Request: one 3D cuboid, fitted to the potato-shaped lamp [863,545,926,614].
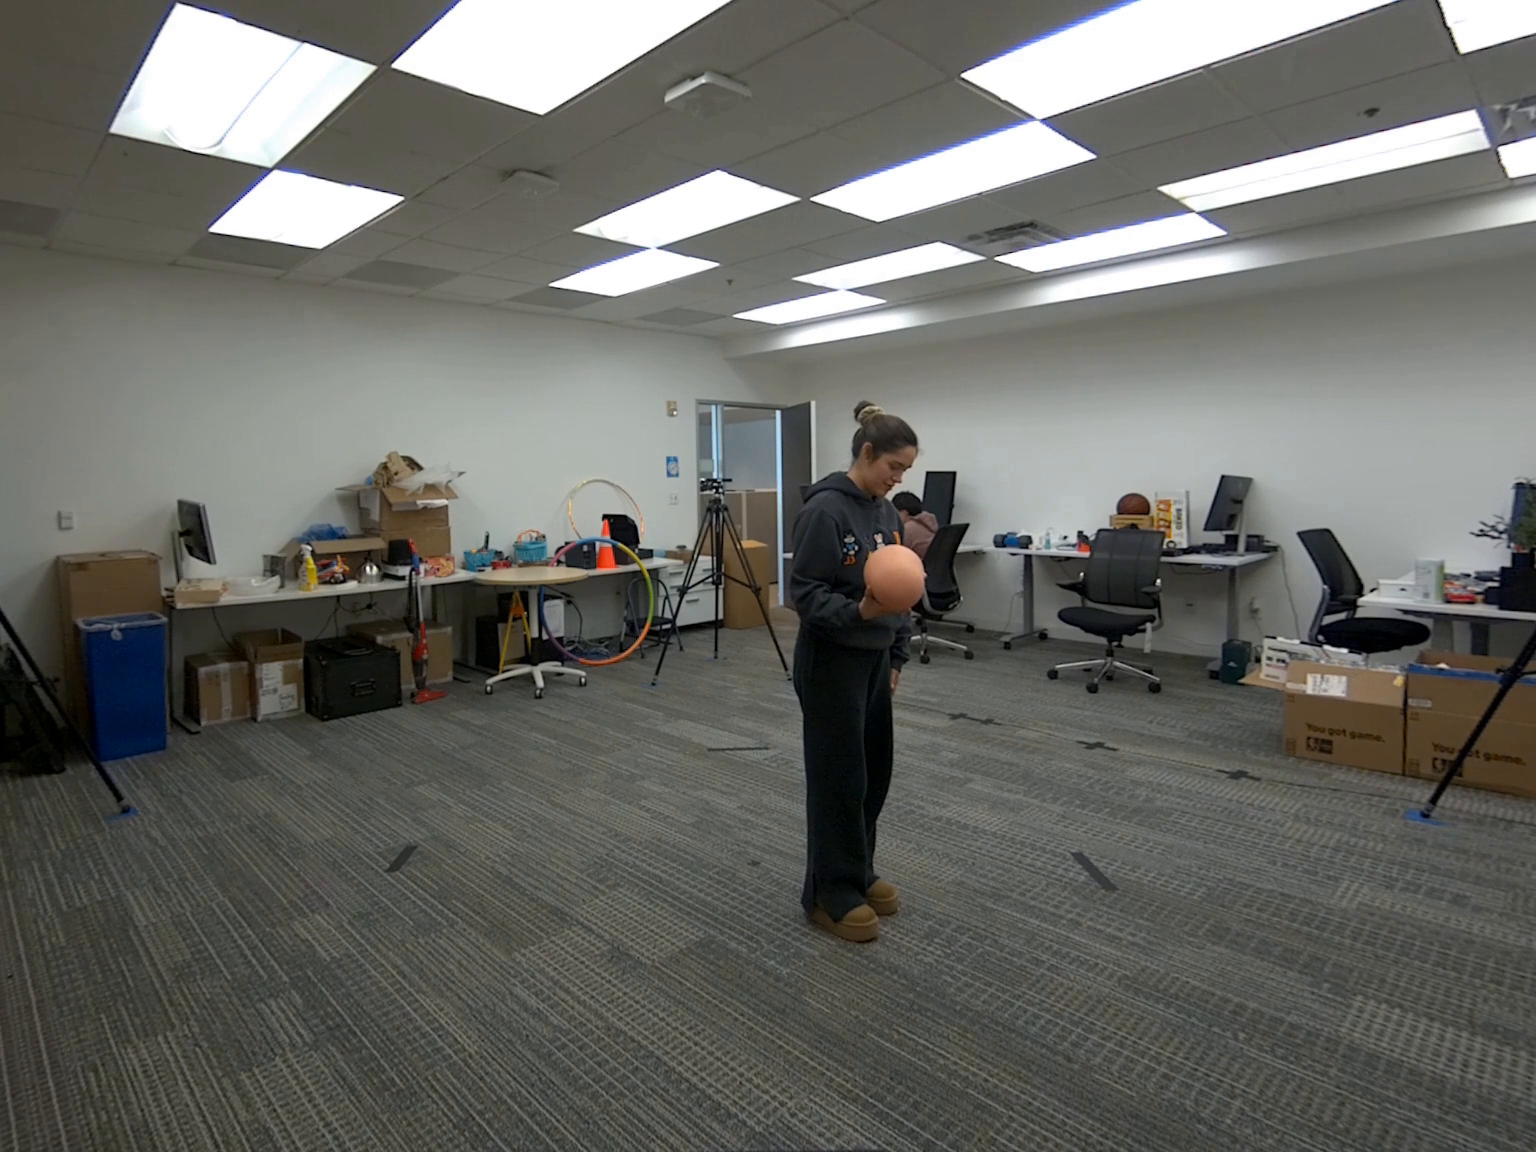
[{"bbox_3d":[0.359,0.012,2.385,0.166,0.165,0.204,37,16,-25],"label":"potato-shaped lamp"}]
